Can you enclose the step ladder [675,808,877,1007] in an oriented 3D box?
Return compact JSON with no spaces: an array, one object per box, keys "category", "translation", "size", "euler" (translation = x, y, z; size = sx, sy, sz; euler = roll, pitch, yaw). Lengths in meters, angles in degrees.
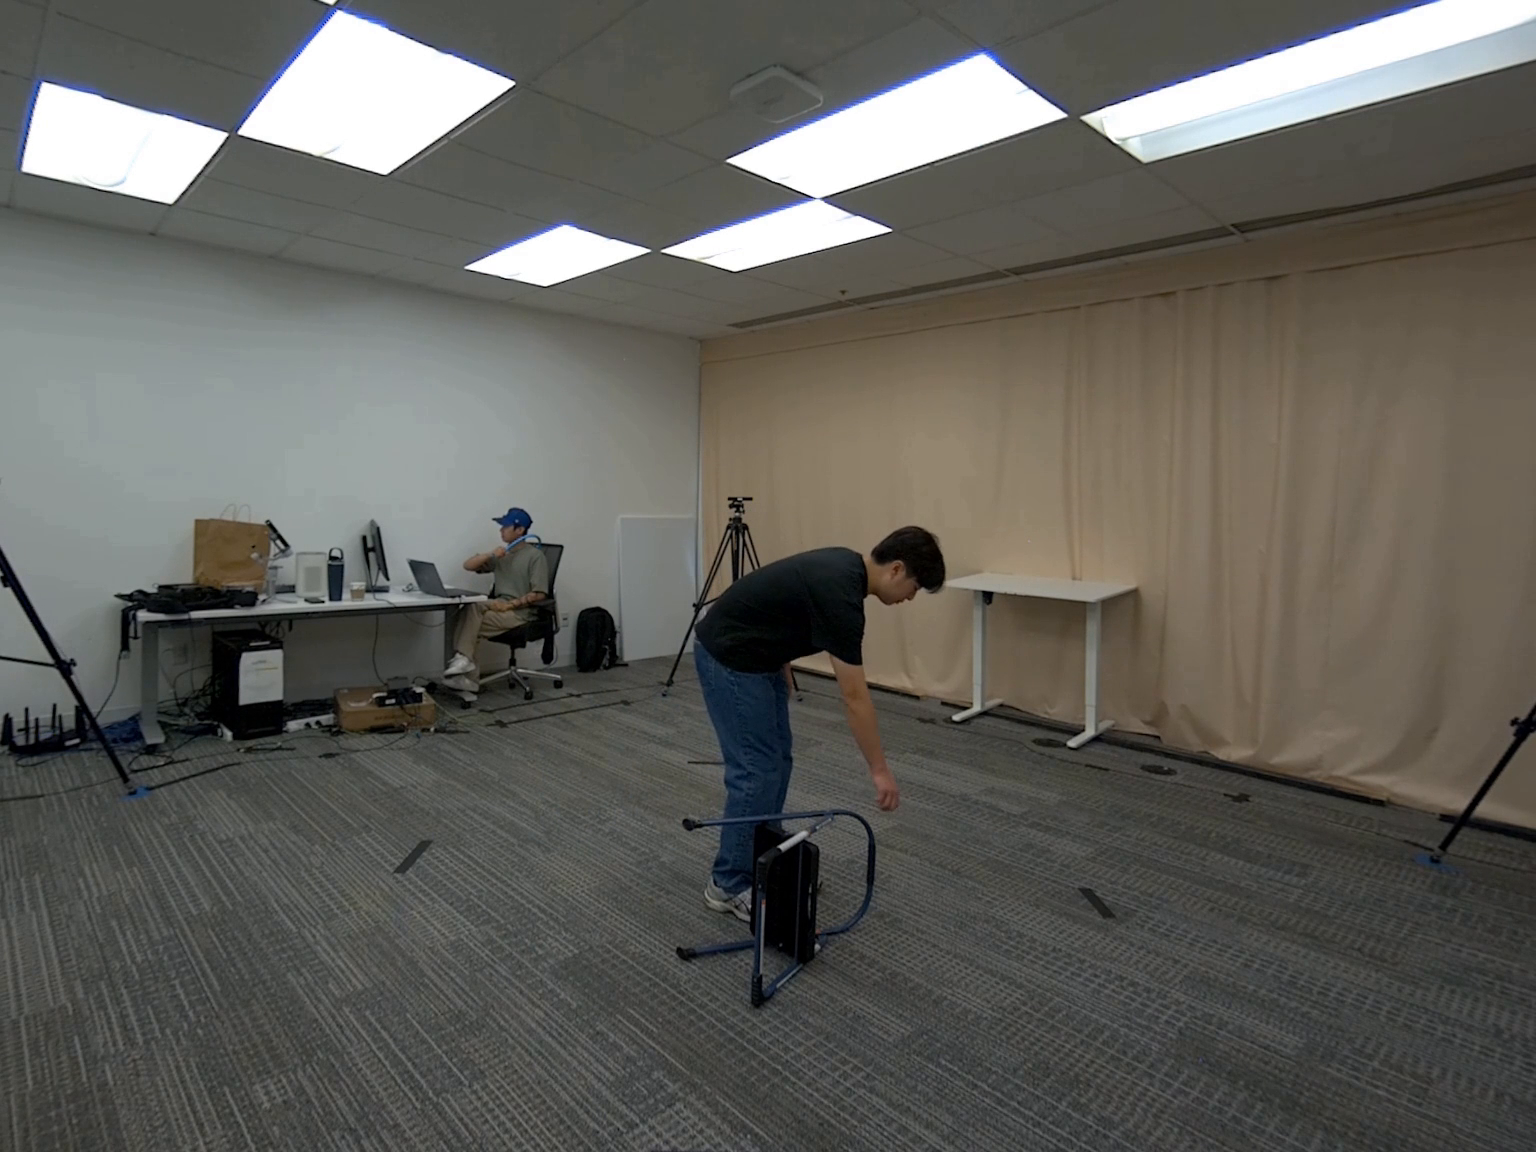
[{"category":"step ladder","translation":[0.064,0.948,2.604],"size":[0.592,0.429,0.358],"euler":[-2,7,-43]}]
